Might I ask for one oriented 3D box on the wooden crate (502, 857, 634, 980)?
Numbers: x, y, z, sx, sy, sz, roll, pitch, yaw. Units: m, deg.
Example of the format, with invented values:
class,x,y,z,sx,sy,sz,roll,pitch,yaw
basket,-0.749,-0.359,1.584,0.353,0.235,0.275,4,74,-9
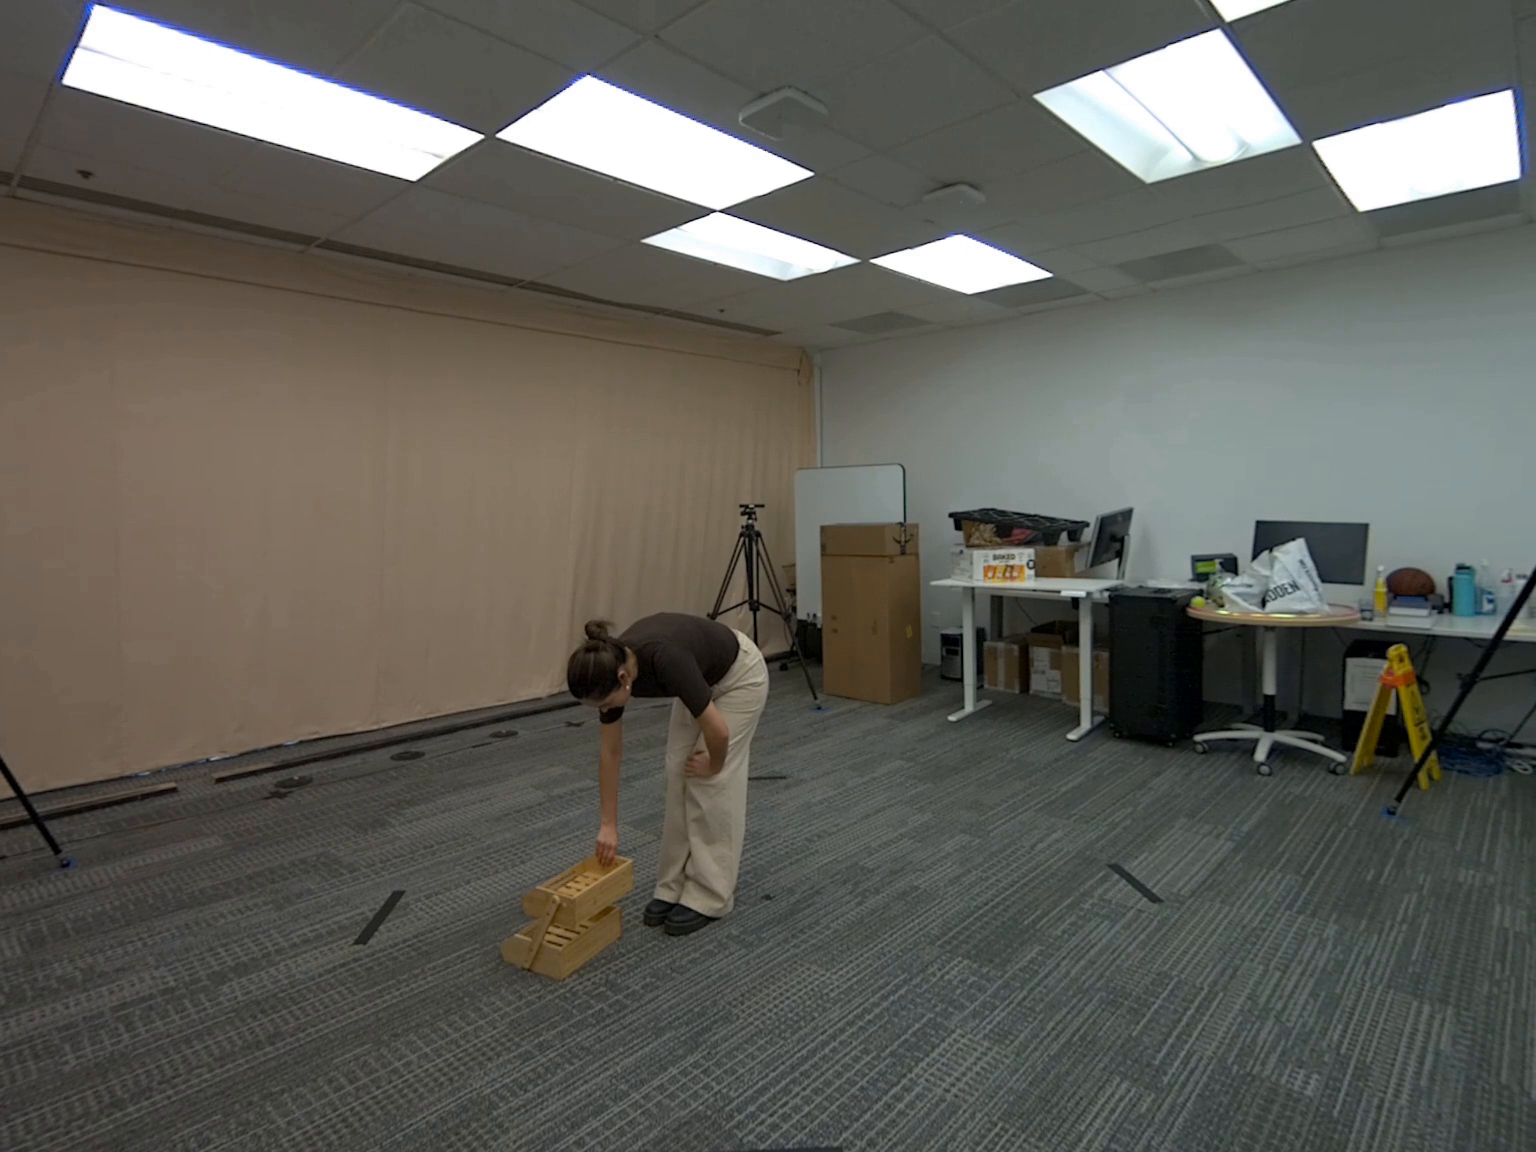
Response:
class,x,y,z,sx,sy,sz,roll,pitch,yaw
wooden crate,-0.632,1.049,2.652,0.310,0.272,0.316,2,5,28
